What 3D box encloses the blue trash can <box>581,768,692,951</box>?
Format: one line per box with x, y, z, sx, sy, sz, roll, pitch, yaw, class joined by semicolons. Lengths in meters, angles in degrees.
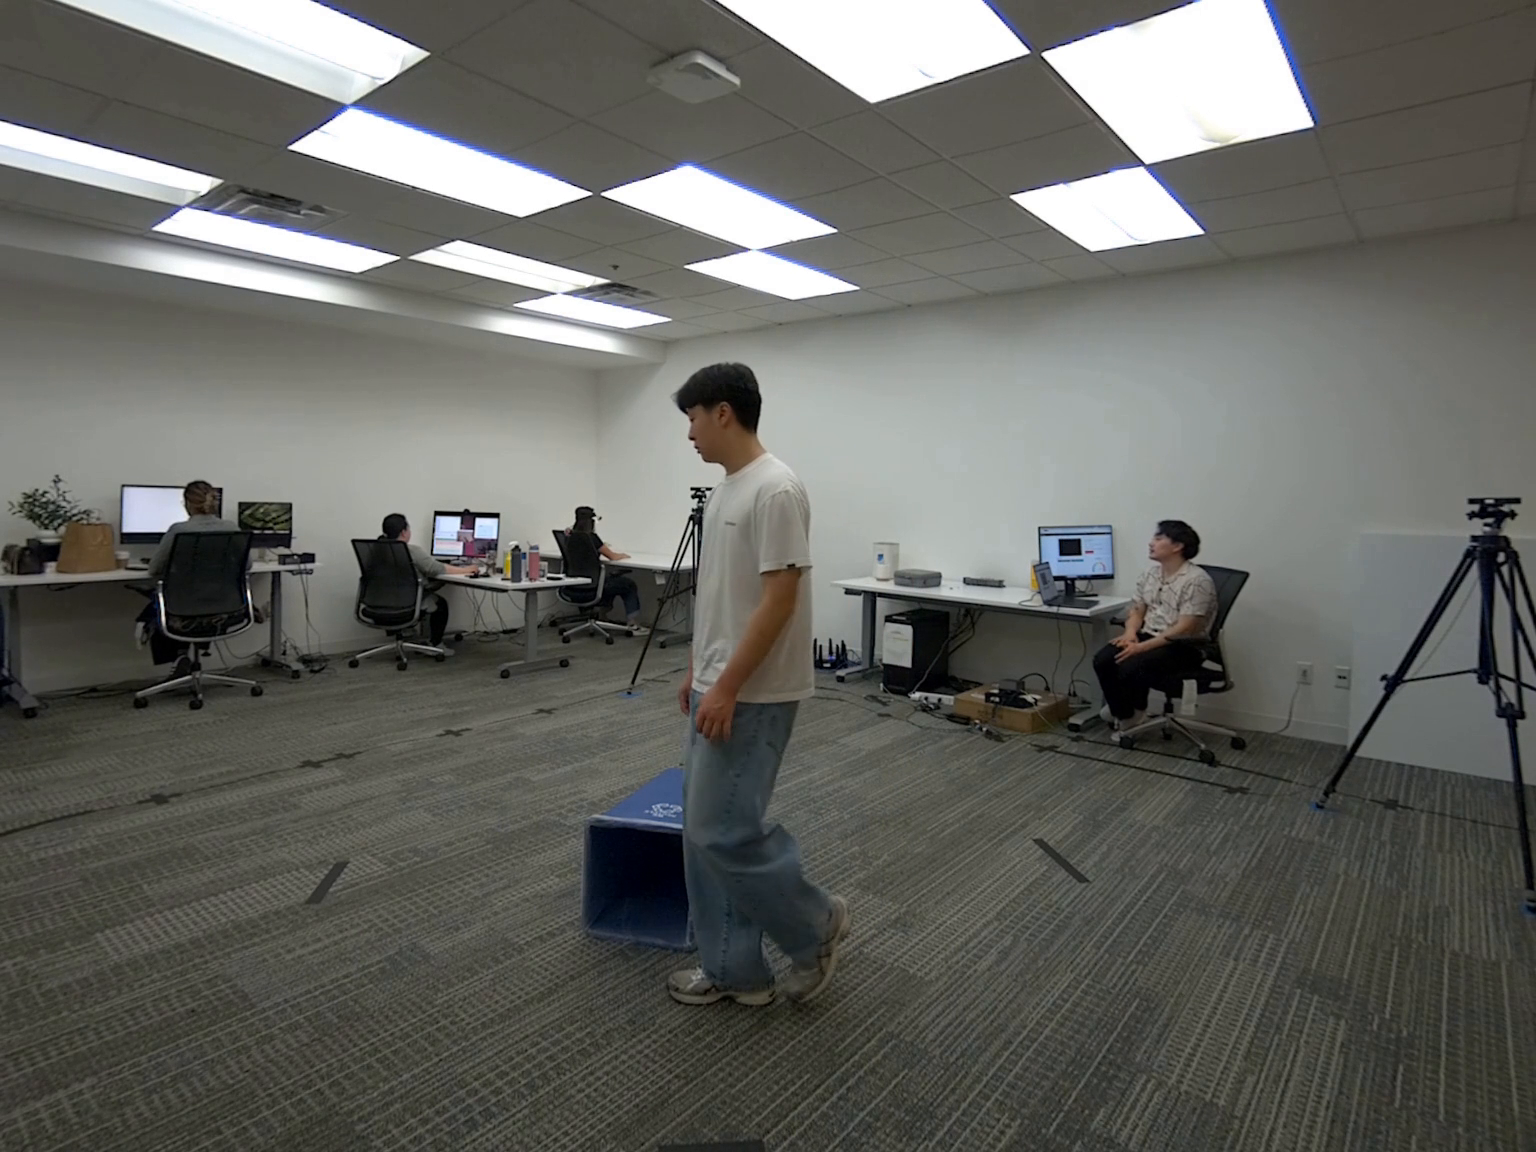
-0.344;0.907;2.919;0.379;0.377;0.705;1;3;11;blue trash can
